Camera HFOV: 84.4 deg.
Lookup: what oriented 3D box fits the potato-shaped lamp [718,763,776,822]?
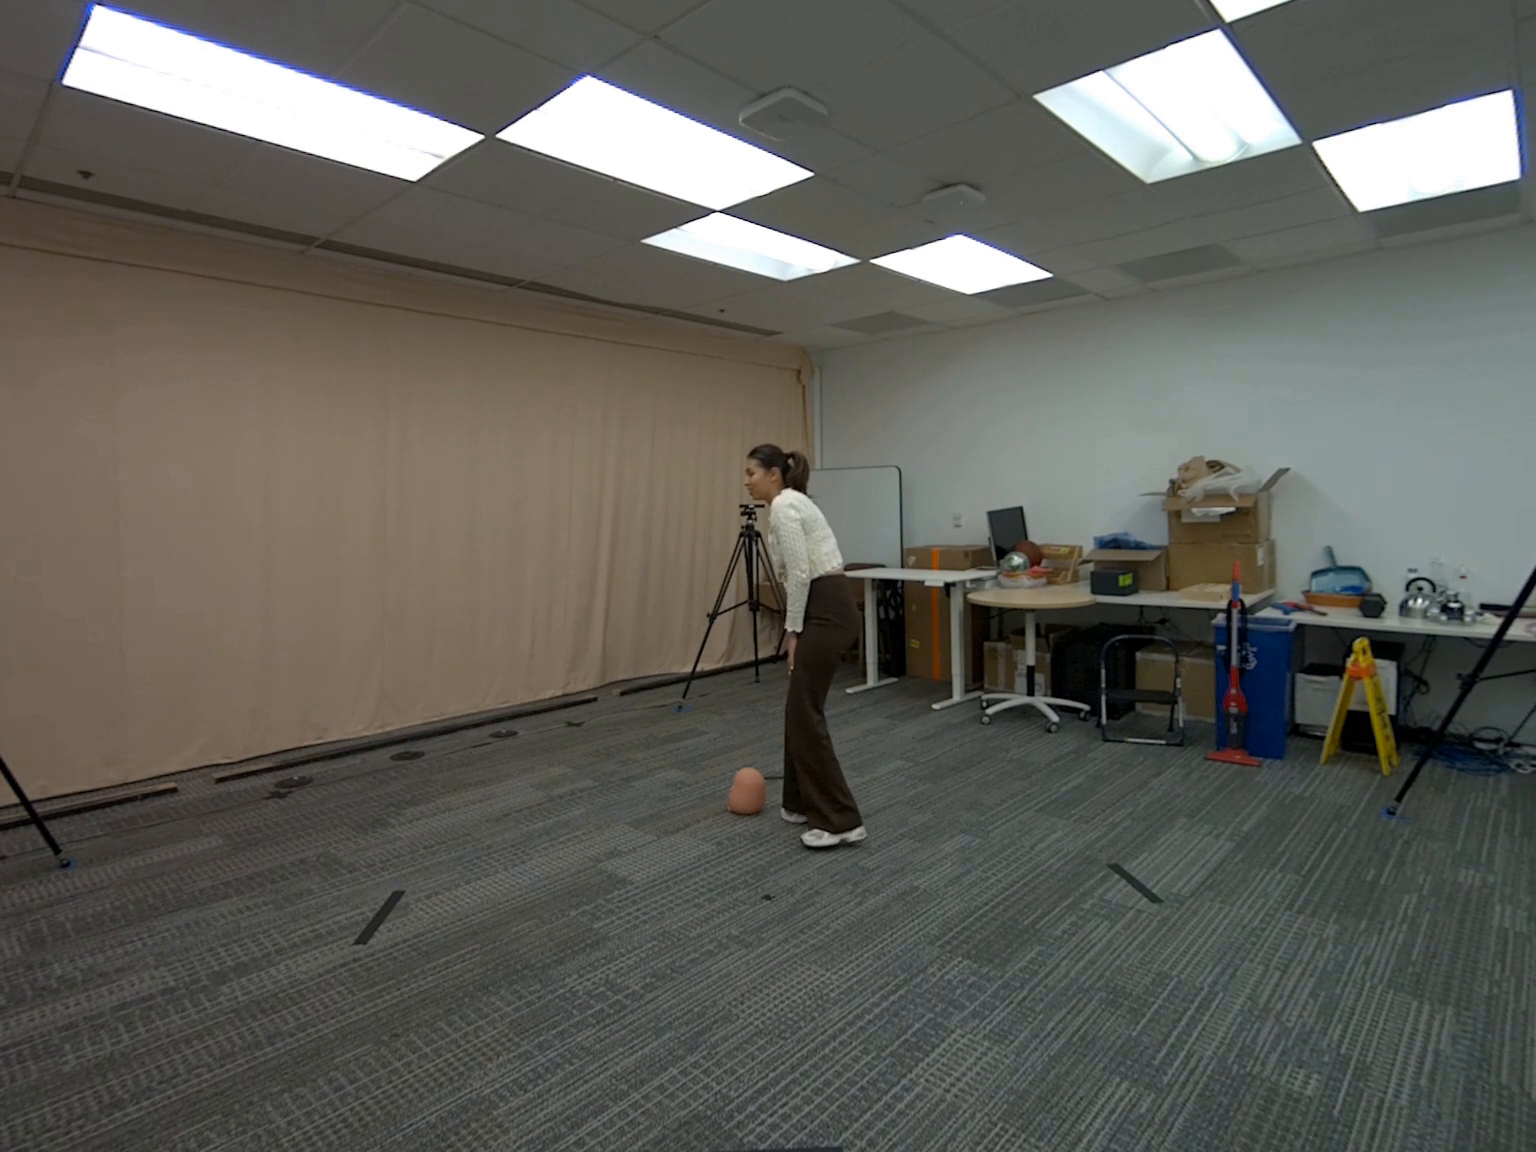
[{"bbox_3d":[-0.098,0.972,3.826,0.176,0.197,0.160,-6,4,32],"label":"potato-shaped lamp"}]
